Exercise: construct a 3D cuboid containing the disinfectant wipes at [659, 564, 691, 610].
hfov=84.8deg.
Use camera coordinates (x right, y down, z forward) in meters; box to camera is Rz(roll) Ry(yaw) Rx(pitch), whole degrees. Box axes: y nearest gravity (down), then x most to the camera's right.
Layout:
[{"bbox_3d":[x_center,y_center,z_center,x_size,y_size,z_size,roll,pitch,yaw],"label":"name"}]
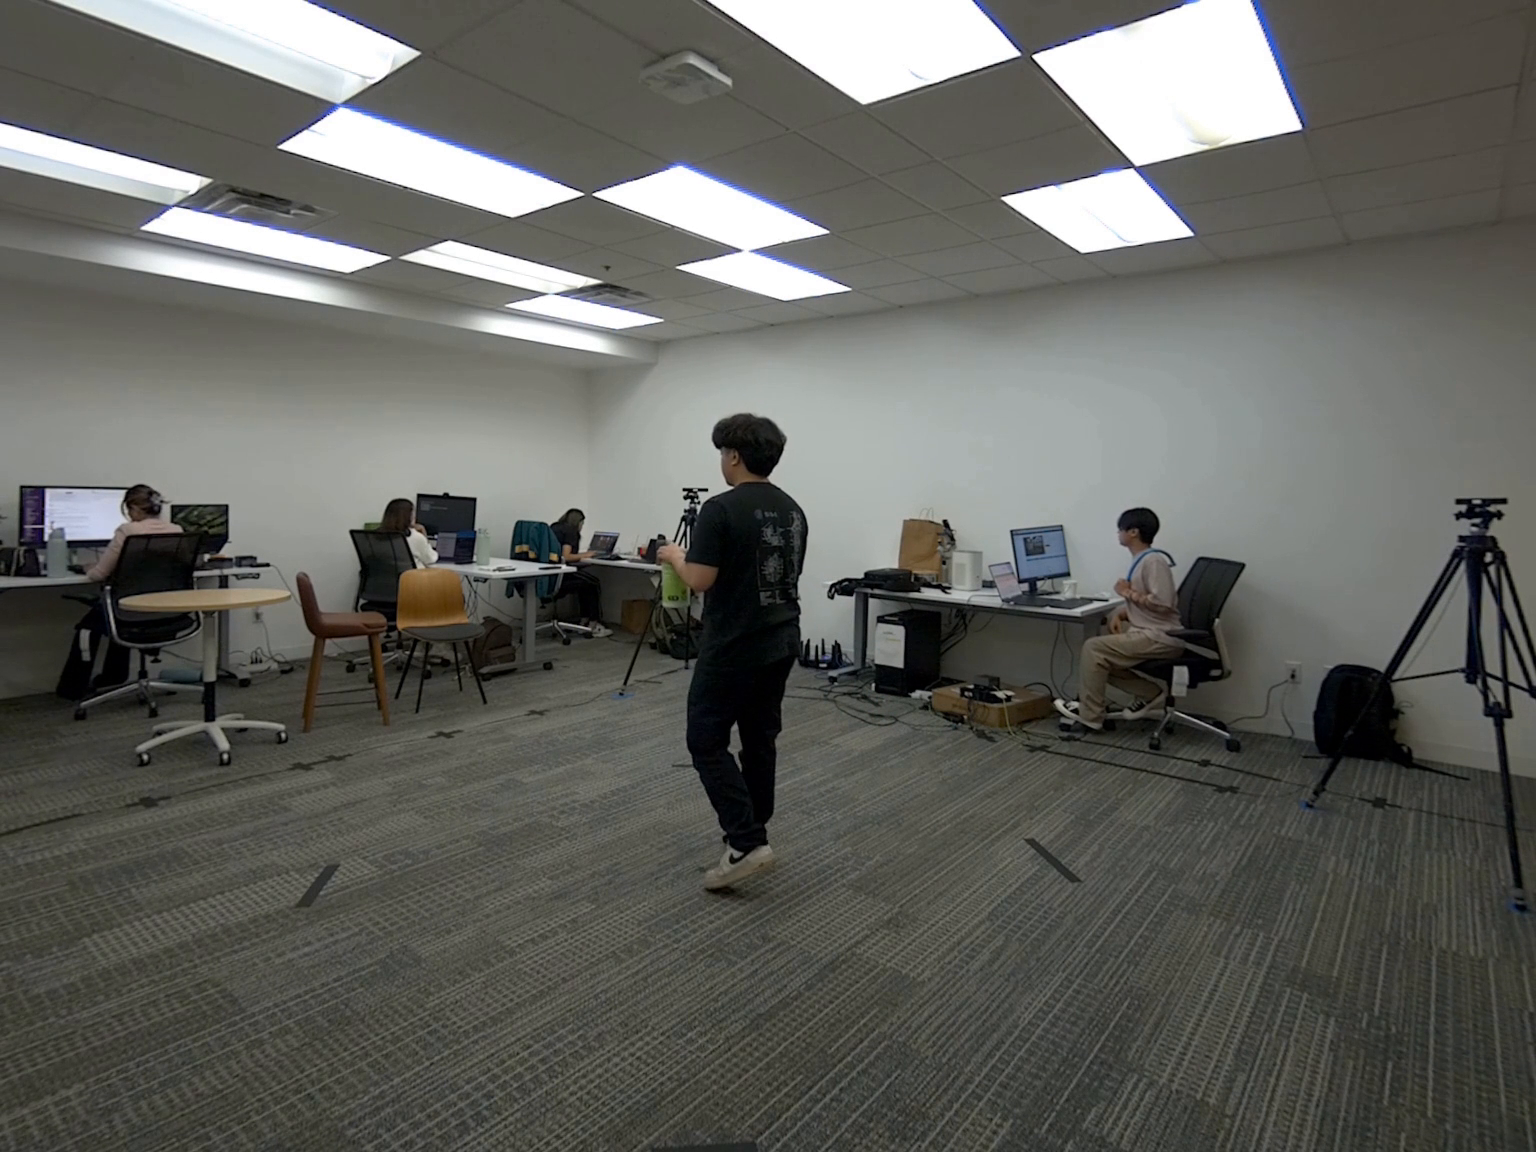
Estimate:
[{"bbox_3d":[-0.372,0.010,3.306,0.118,0.217,0.118,-1,4,-2],"label":"disinfectant wipes"}]
